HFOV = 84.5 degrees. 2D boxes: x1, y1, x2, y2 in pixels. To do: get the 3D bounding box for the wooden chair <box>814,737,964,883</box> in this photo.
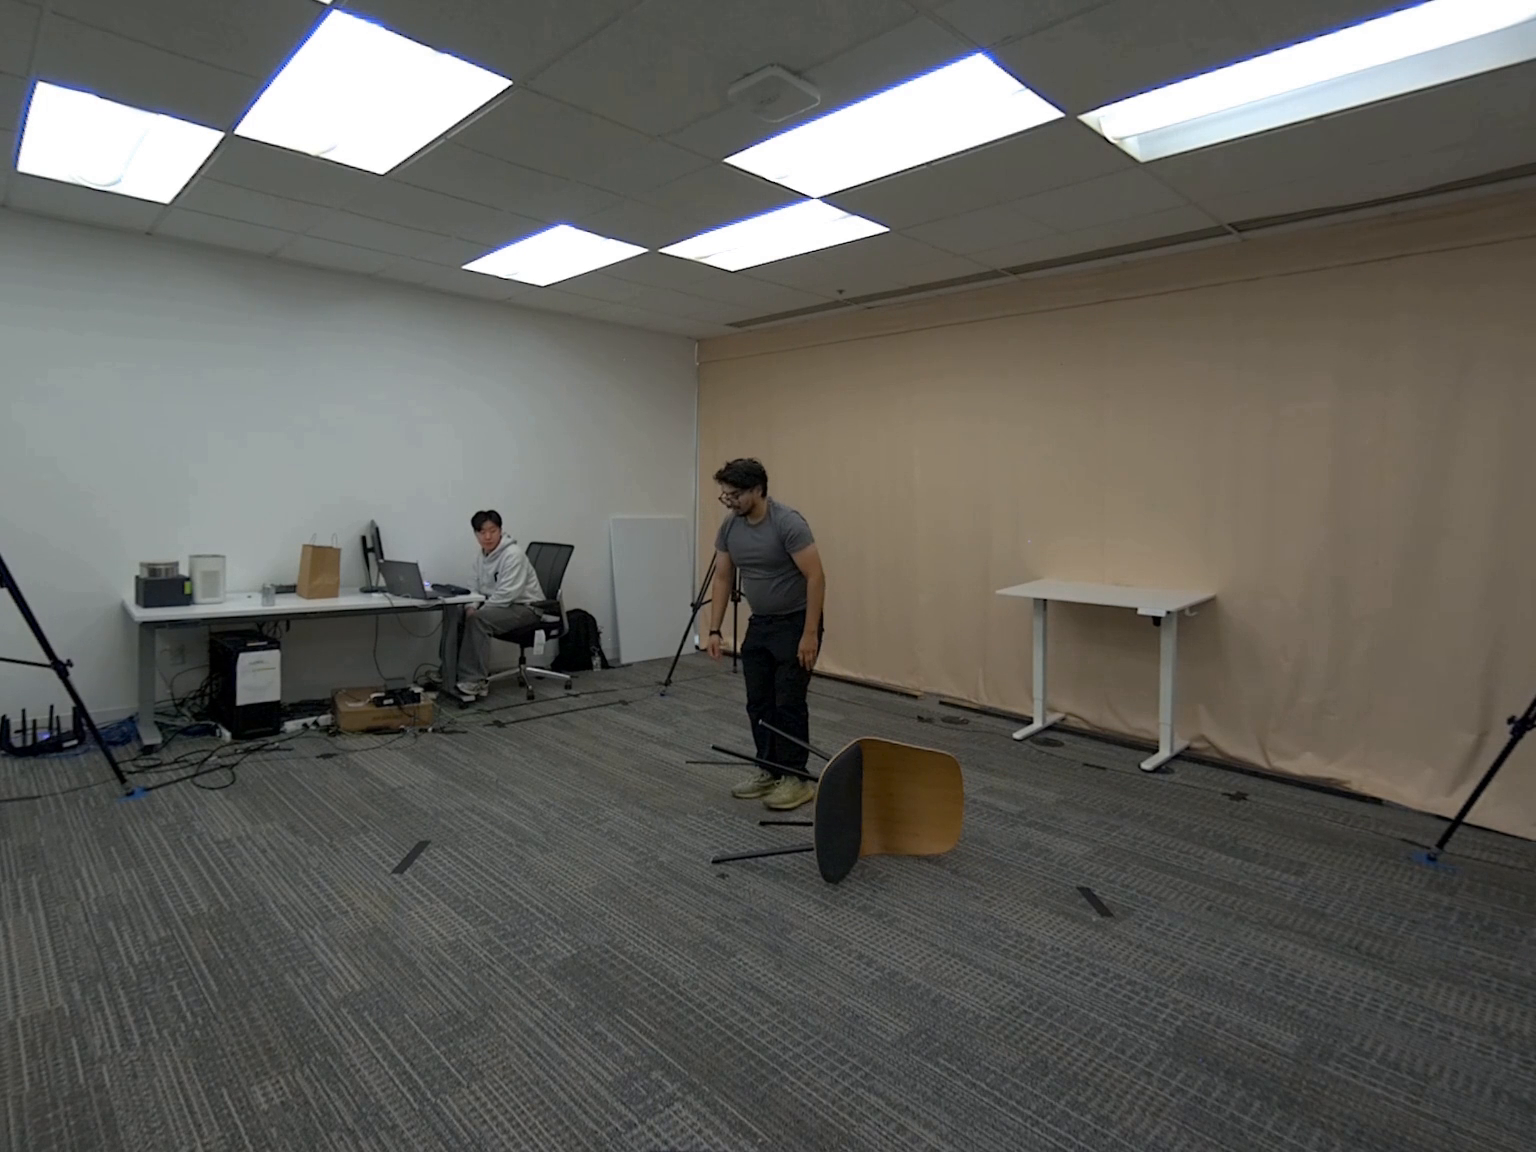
[{"bbox_3d":[0.262,0.874,3.203,0.892,0.477,0.515,3,3,21],"label":"wooden chair"}]
